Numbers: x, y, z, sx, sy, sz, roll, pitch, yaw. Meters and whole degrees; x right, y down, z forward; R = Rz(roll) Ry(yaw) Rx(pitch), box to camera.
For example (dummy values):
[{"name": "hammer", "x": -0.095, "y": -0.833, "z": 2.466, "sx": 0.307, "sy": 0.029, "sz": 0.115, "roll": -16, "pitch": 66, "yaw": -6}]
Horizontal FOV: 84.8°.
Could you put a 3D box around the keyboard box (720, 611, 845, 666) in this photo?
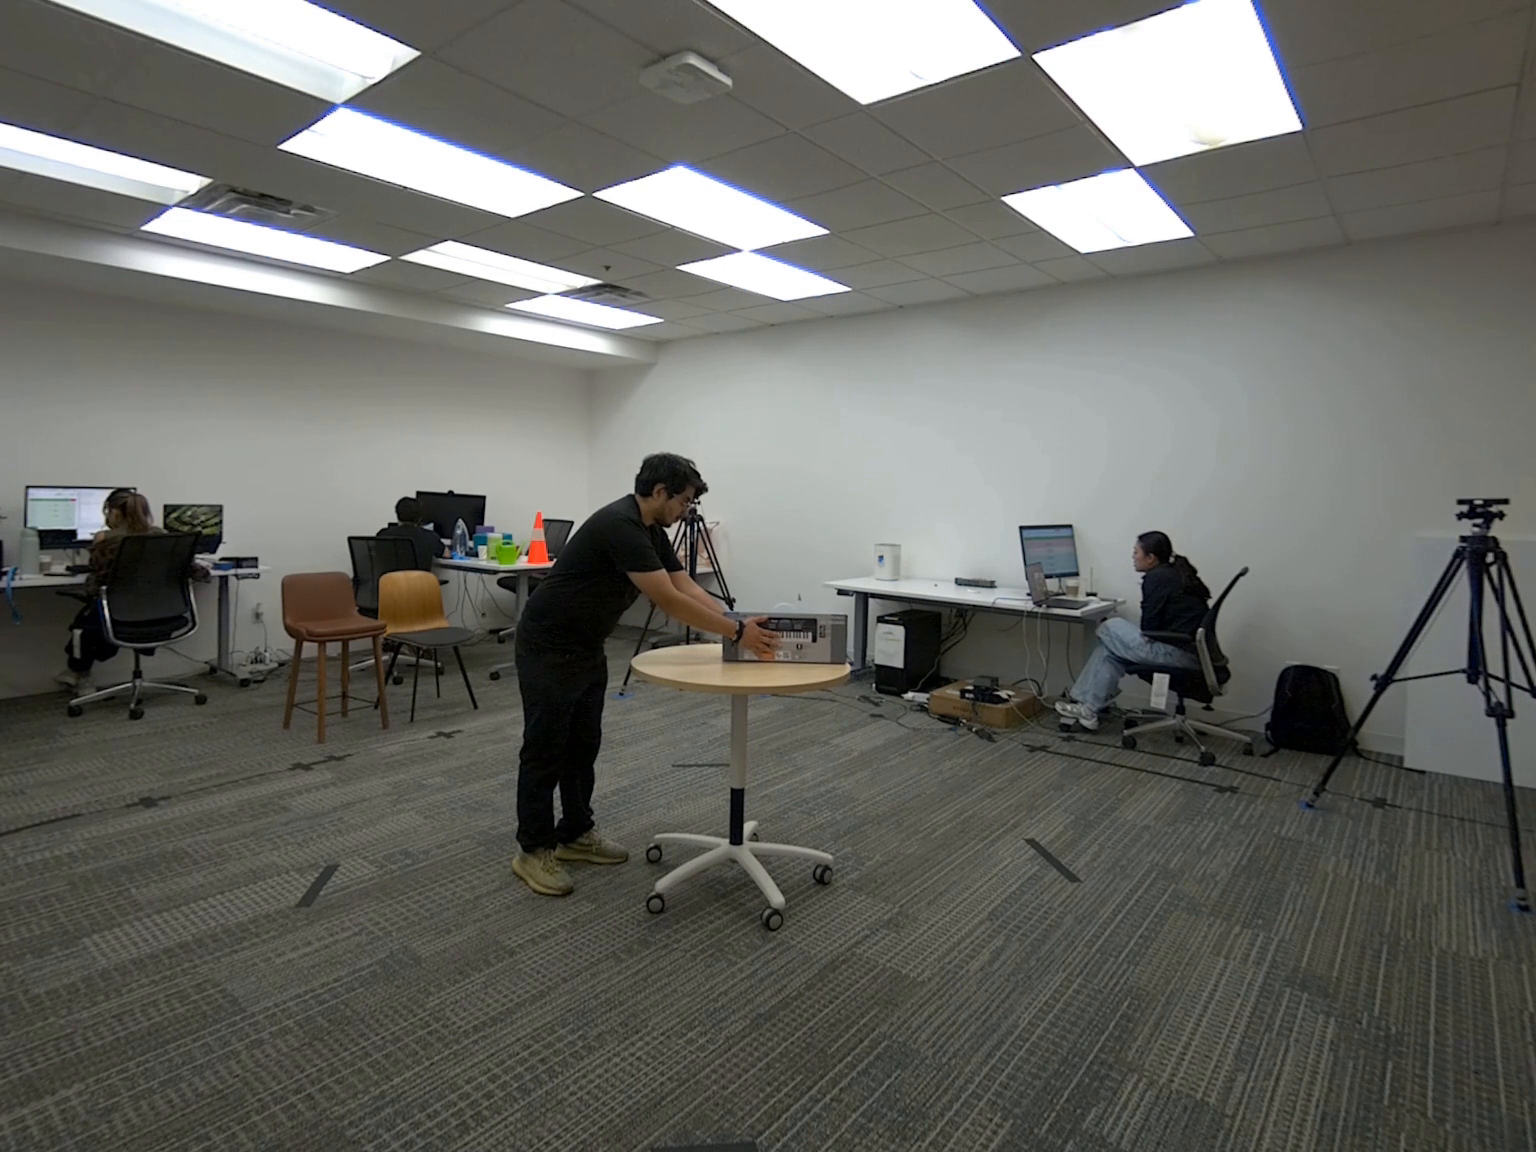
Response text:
[{"name": "keyboard box", "x": 0.048, "y": 0.221, "z": 3.005, "sx": 0.437, "sy": 0.176, "sz": 0.059, "roll": 1, "pitch": -1, "yaw": 1}]
